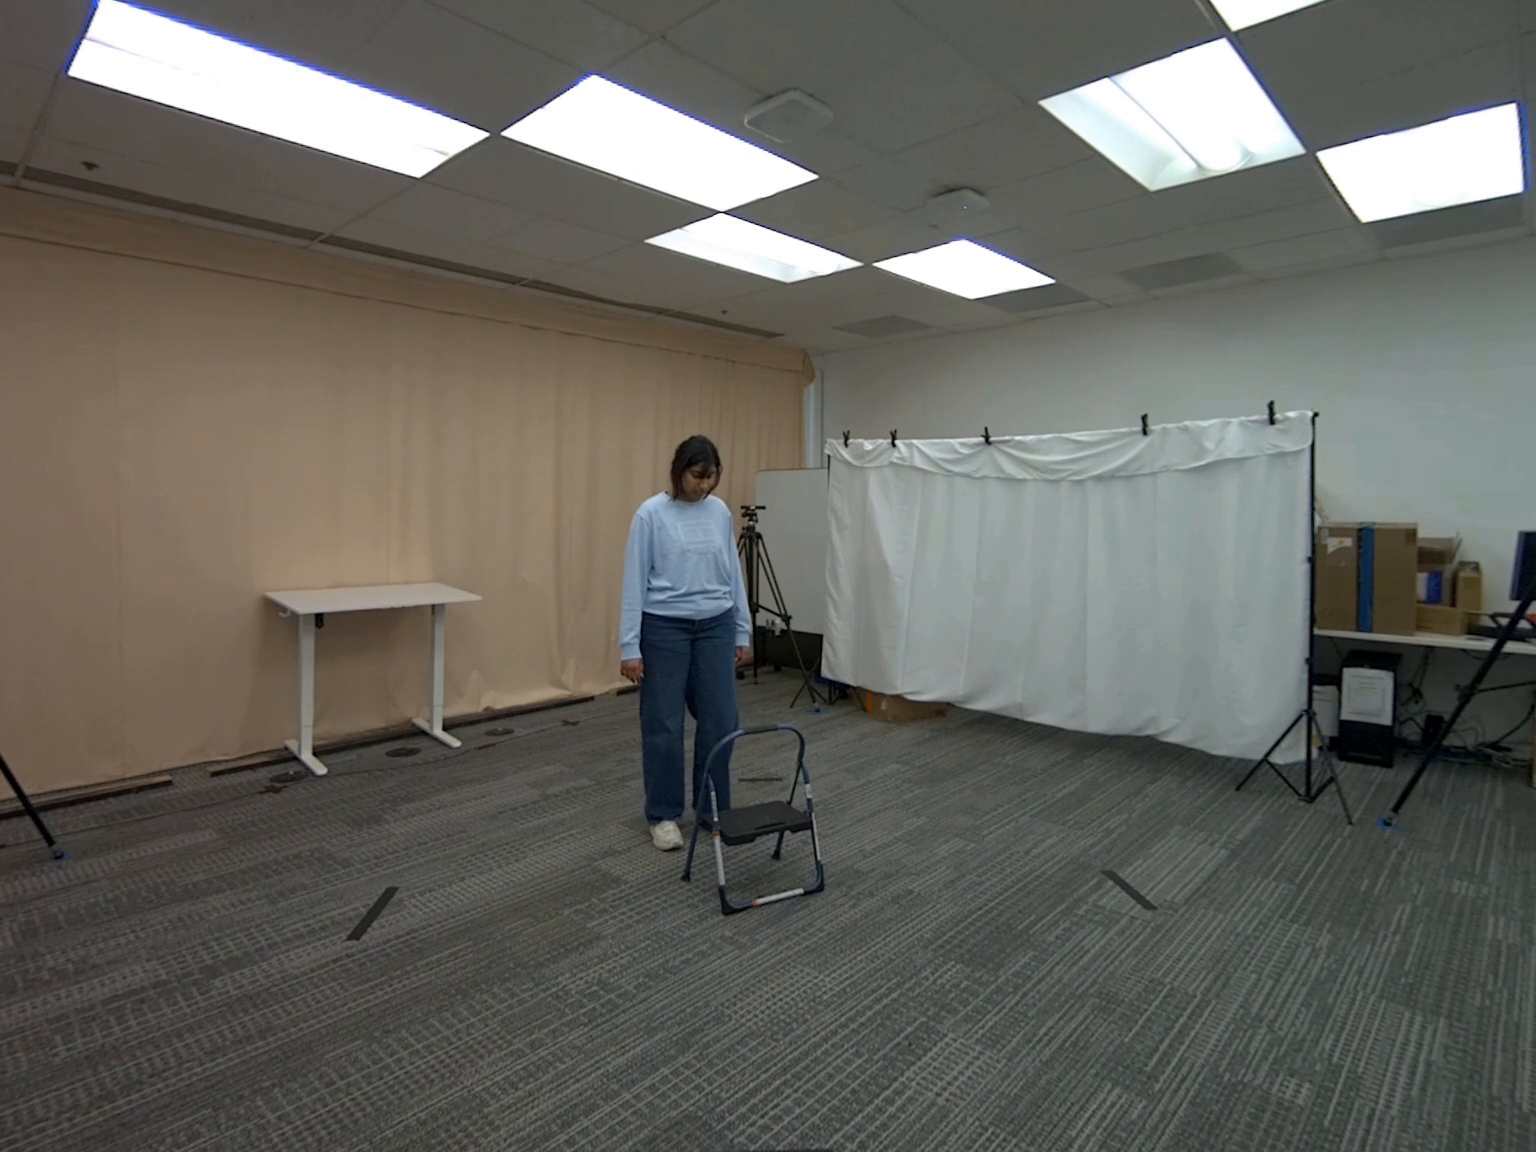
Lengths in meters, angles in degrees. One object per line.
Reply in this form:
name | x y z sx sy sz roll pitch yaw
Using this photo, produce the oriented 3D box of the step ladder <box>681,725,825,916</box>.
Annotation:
step ladder | -0.055 0.834 3.082 0.419 0.605 0.359 -2 4 -30
